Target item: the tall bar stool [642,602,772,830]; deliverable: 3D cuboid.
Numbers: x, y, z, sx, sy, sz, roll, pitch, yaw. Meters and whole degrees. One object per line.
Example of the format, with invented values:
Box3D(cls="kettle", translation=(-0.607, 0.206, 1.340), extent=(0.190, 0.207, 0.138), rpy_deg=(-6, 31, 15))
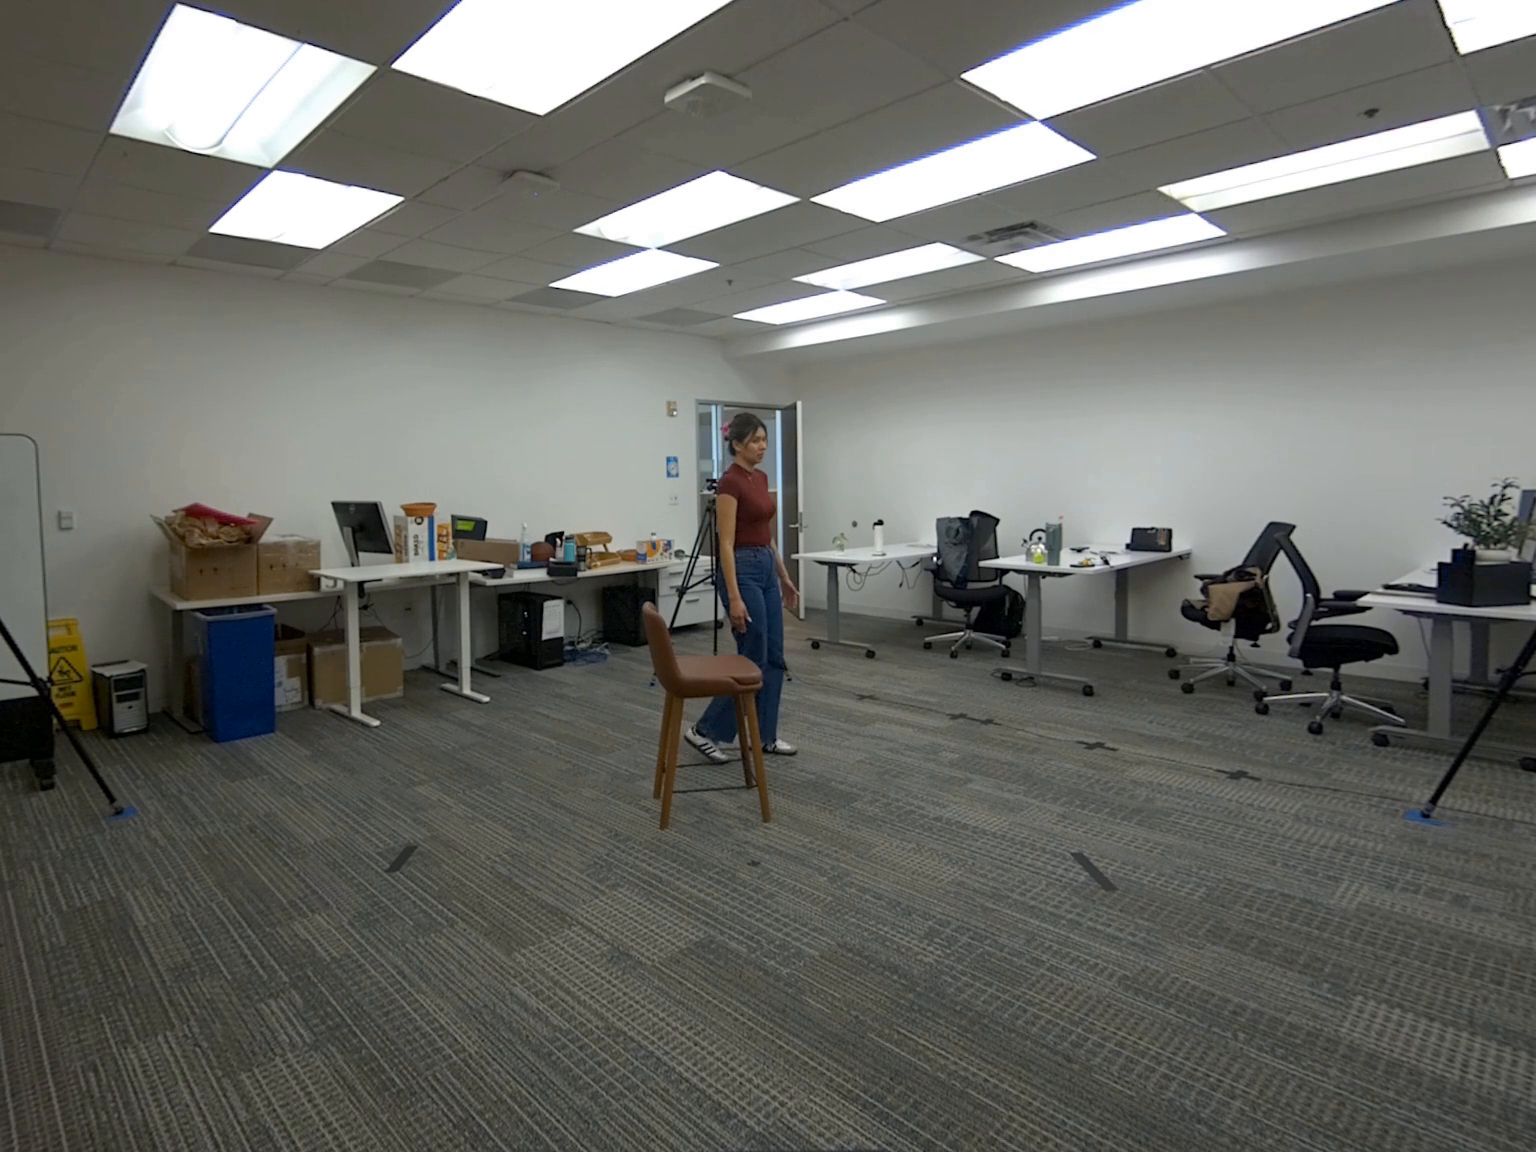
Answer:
Box3D(cls="tall bar stool", translation=(-0.268, 0.559, 3.620), extent=(0.463, 0.887, 0.462), rpy_deg=(-3, 4, -11))
